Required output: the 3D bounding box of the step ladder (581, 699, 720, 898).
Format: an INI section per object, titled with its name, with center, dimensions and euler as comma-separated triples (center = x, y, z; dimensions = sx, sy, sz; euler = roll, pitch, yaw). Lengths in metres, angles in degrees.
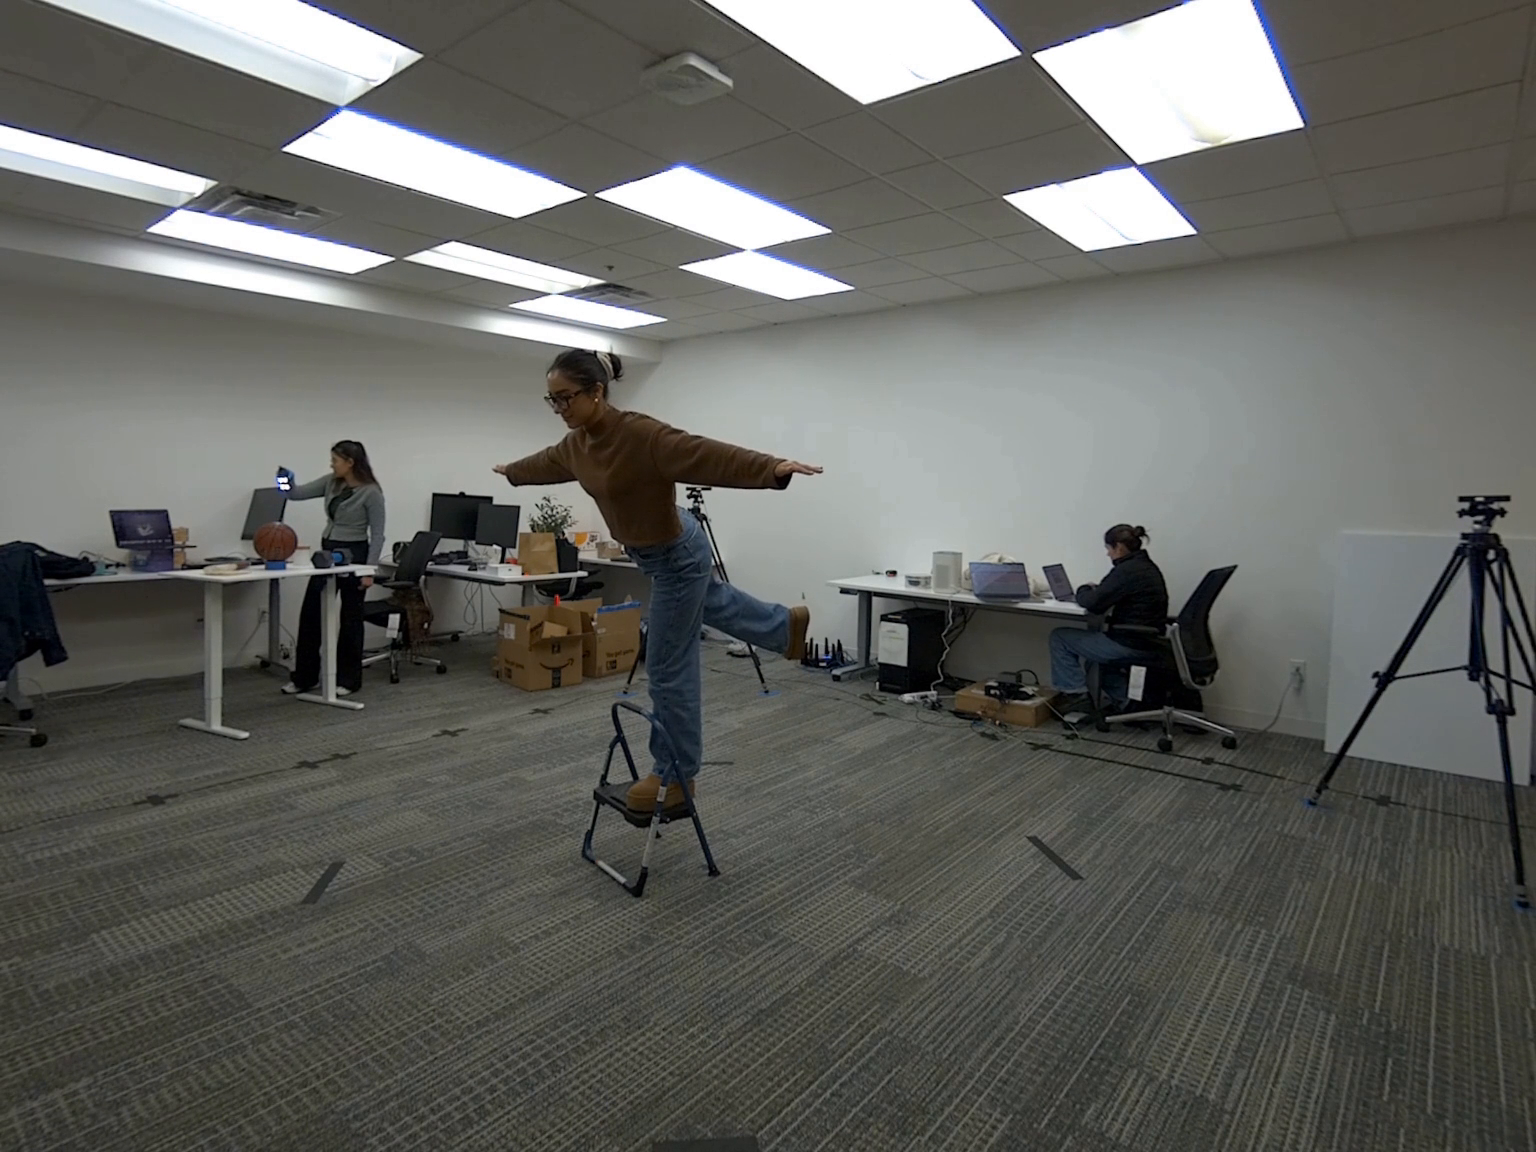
[step ladder]
center = -0.447, 0.760, 3.116
dimensions = 0.339, 0.604, 0.445
euler = -2, 5, -39
